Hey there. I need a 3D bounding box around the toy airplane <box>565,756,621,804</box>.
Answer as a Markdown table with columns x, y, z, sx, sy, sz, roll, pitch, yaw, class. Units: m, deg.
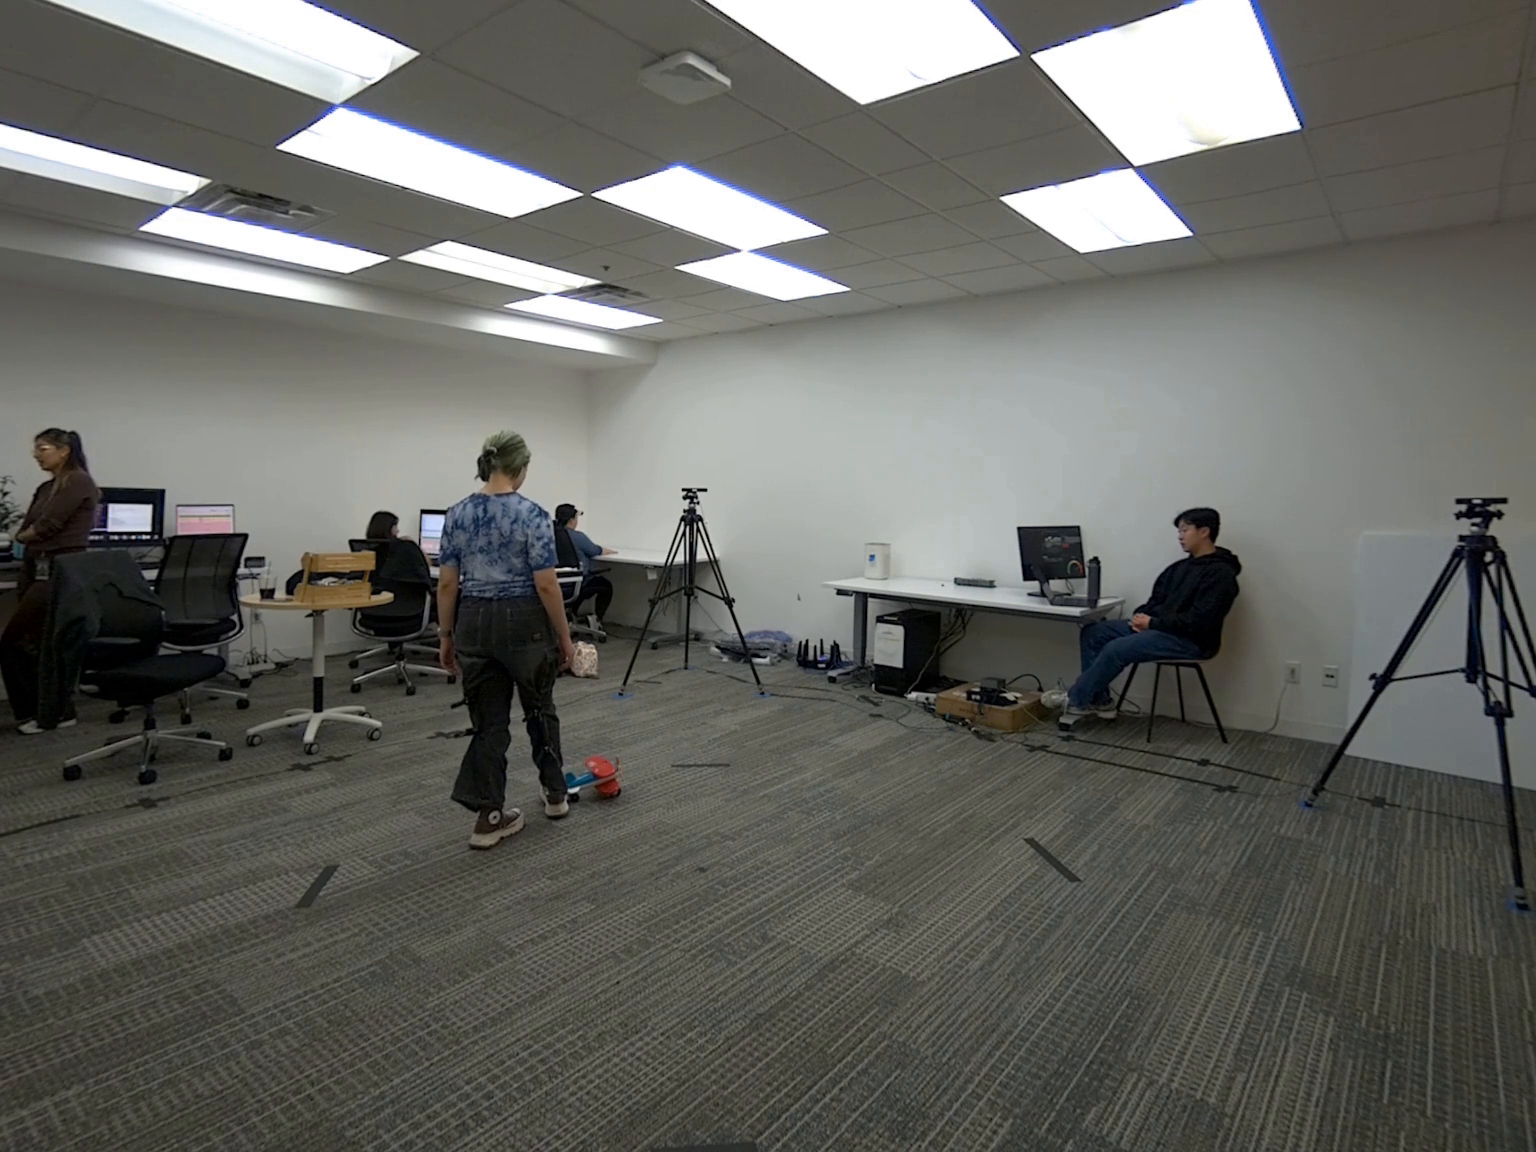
| x | y | z | sx | sy | sz | roll | pitch | yaw | class |
| --- | --- | --- | --- | --- | --- | --- | --- | --- | --- |
| -0.790 | 0.918 | 3.810 | 0.259 | 0.156 | 0.252 | 5 | 4 | 33 | toy airplane |
